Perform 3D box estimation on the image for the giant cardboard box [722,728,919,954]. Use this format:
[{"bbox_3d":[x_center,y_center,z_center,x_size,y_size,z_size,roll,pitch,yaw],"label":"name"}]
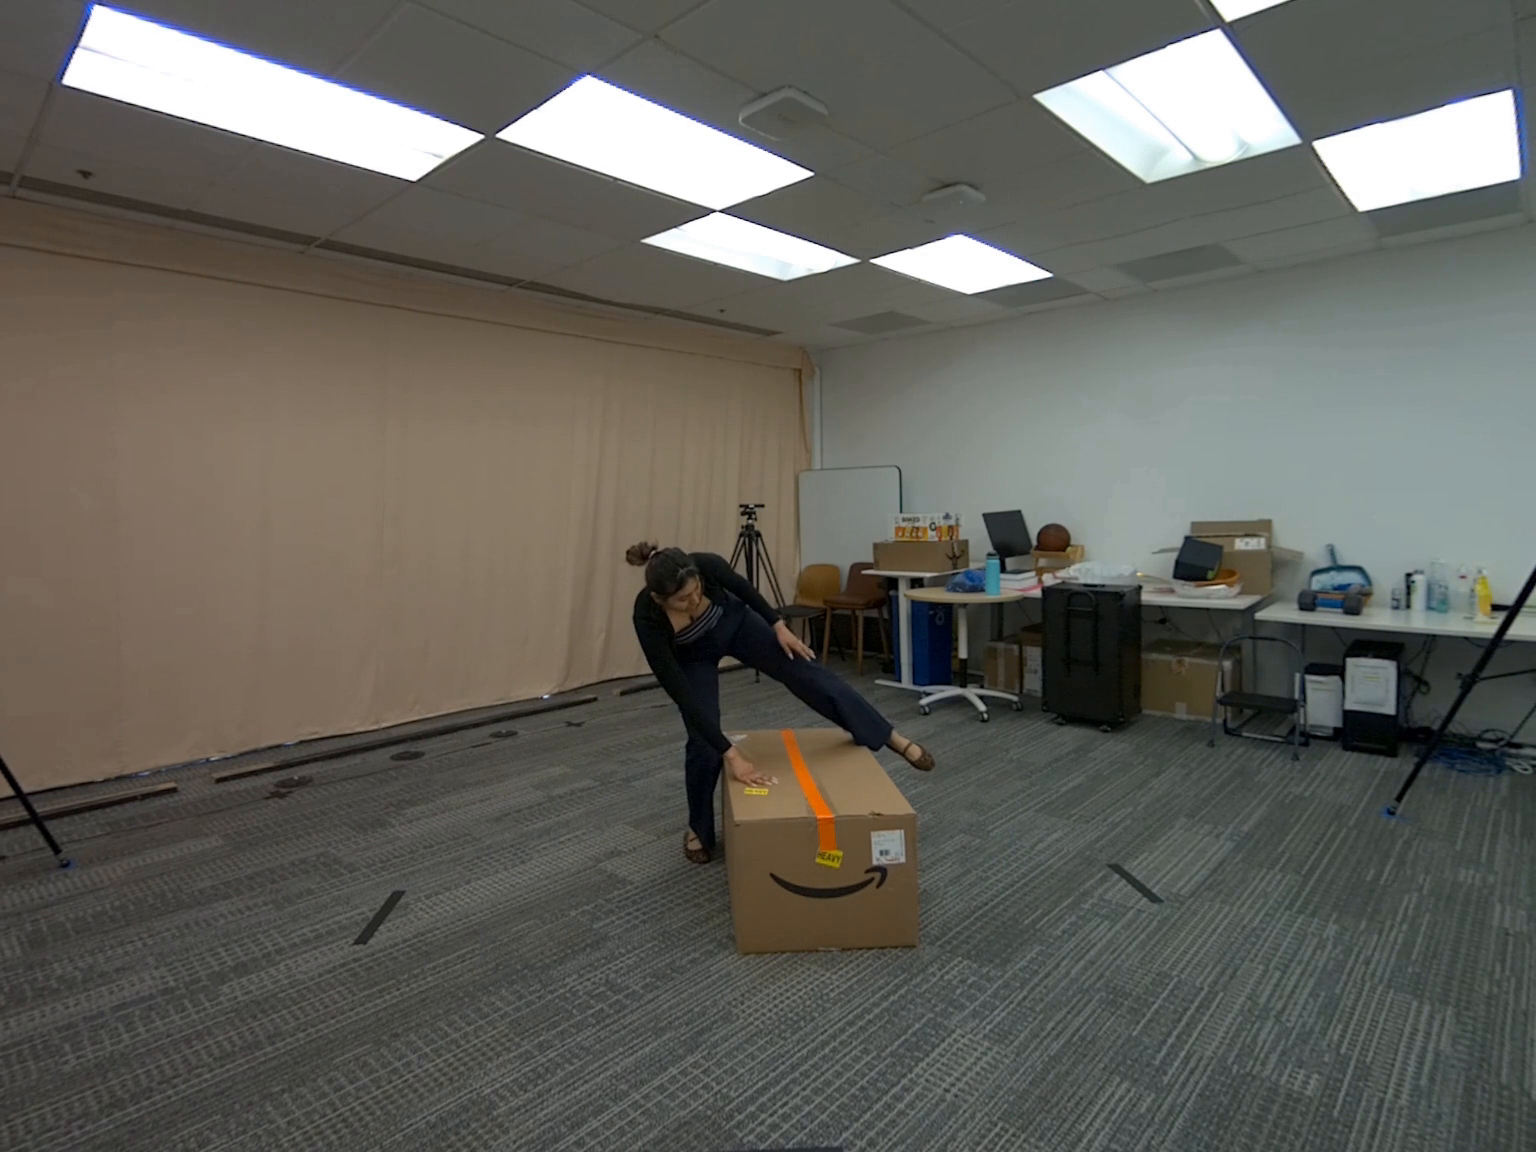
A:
[{"bbox_3d":[0.138,0.913,3.116,0.575,0.425,1.033,-2,5,-5],"label":"giant cardboard box"}]
